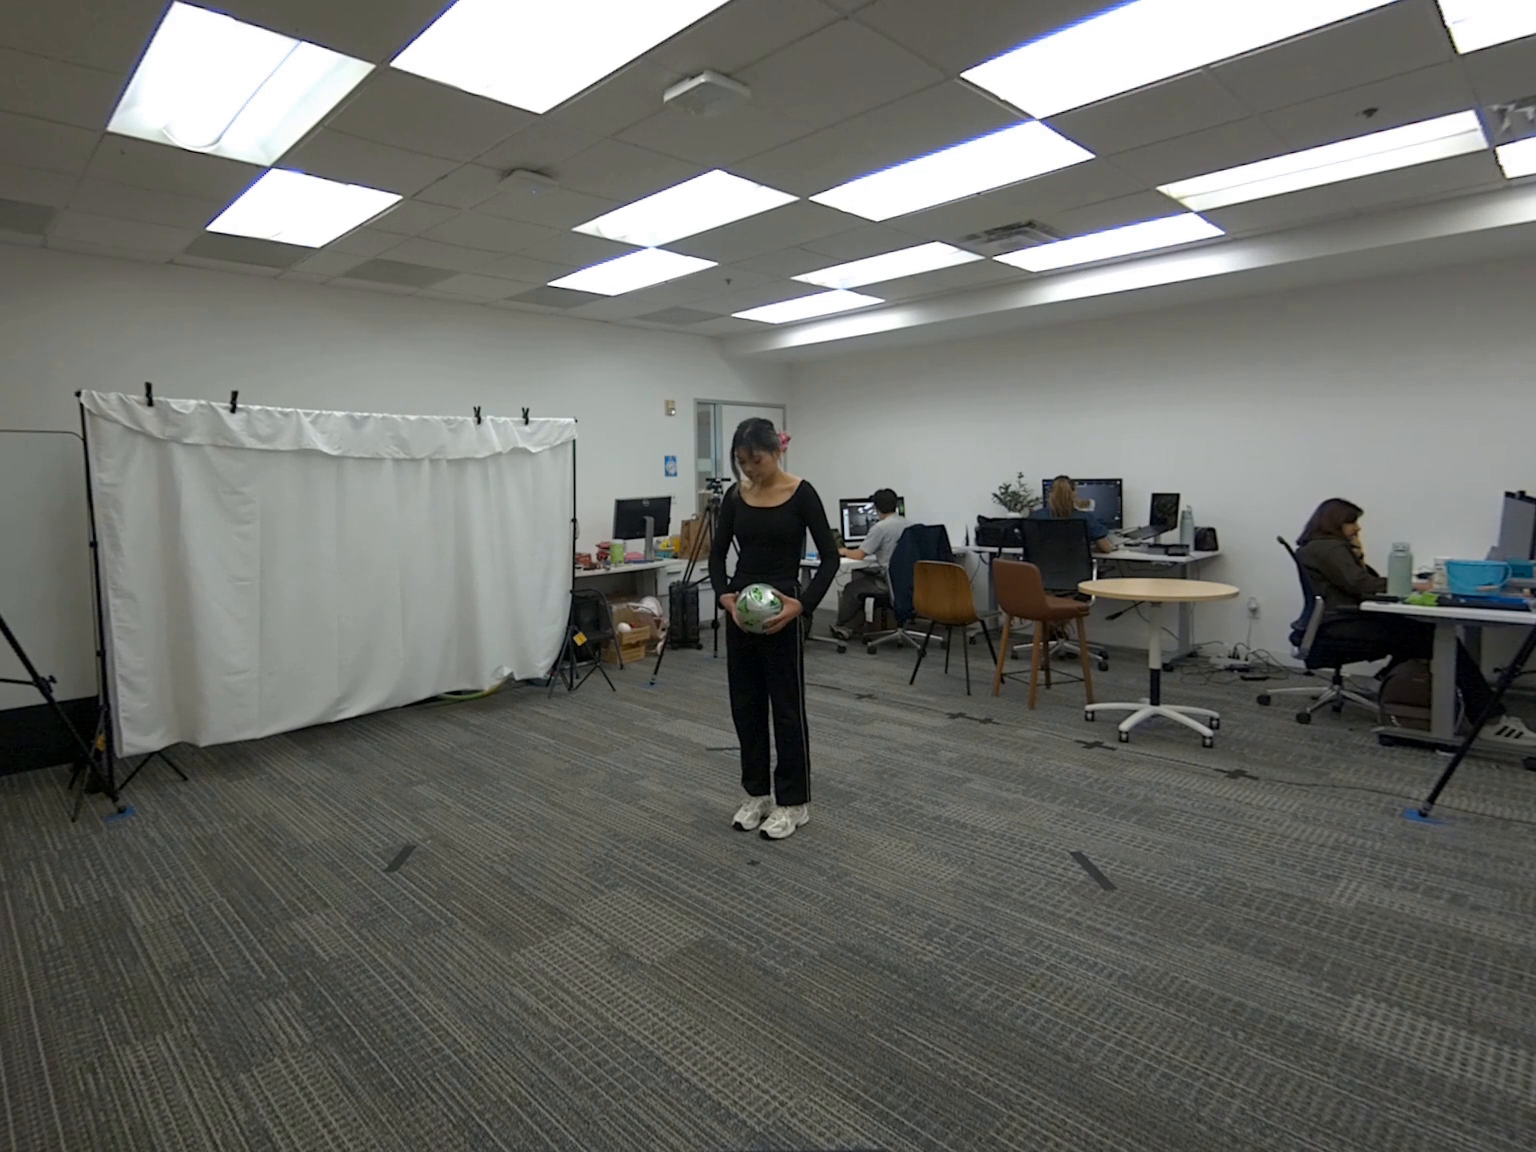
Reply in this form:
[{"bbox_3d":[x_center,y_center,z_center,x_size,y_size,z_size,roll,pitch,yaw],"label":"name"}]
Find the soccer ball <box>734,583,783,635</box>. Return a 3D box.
[{"bbox_3d":[-0.030,0.123,3.191,0.187,0.187,0.188,-1,5,-2],"label":"soccer ball"}]
